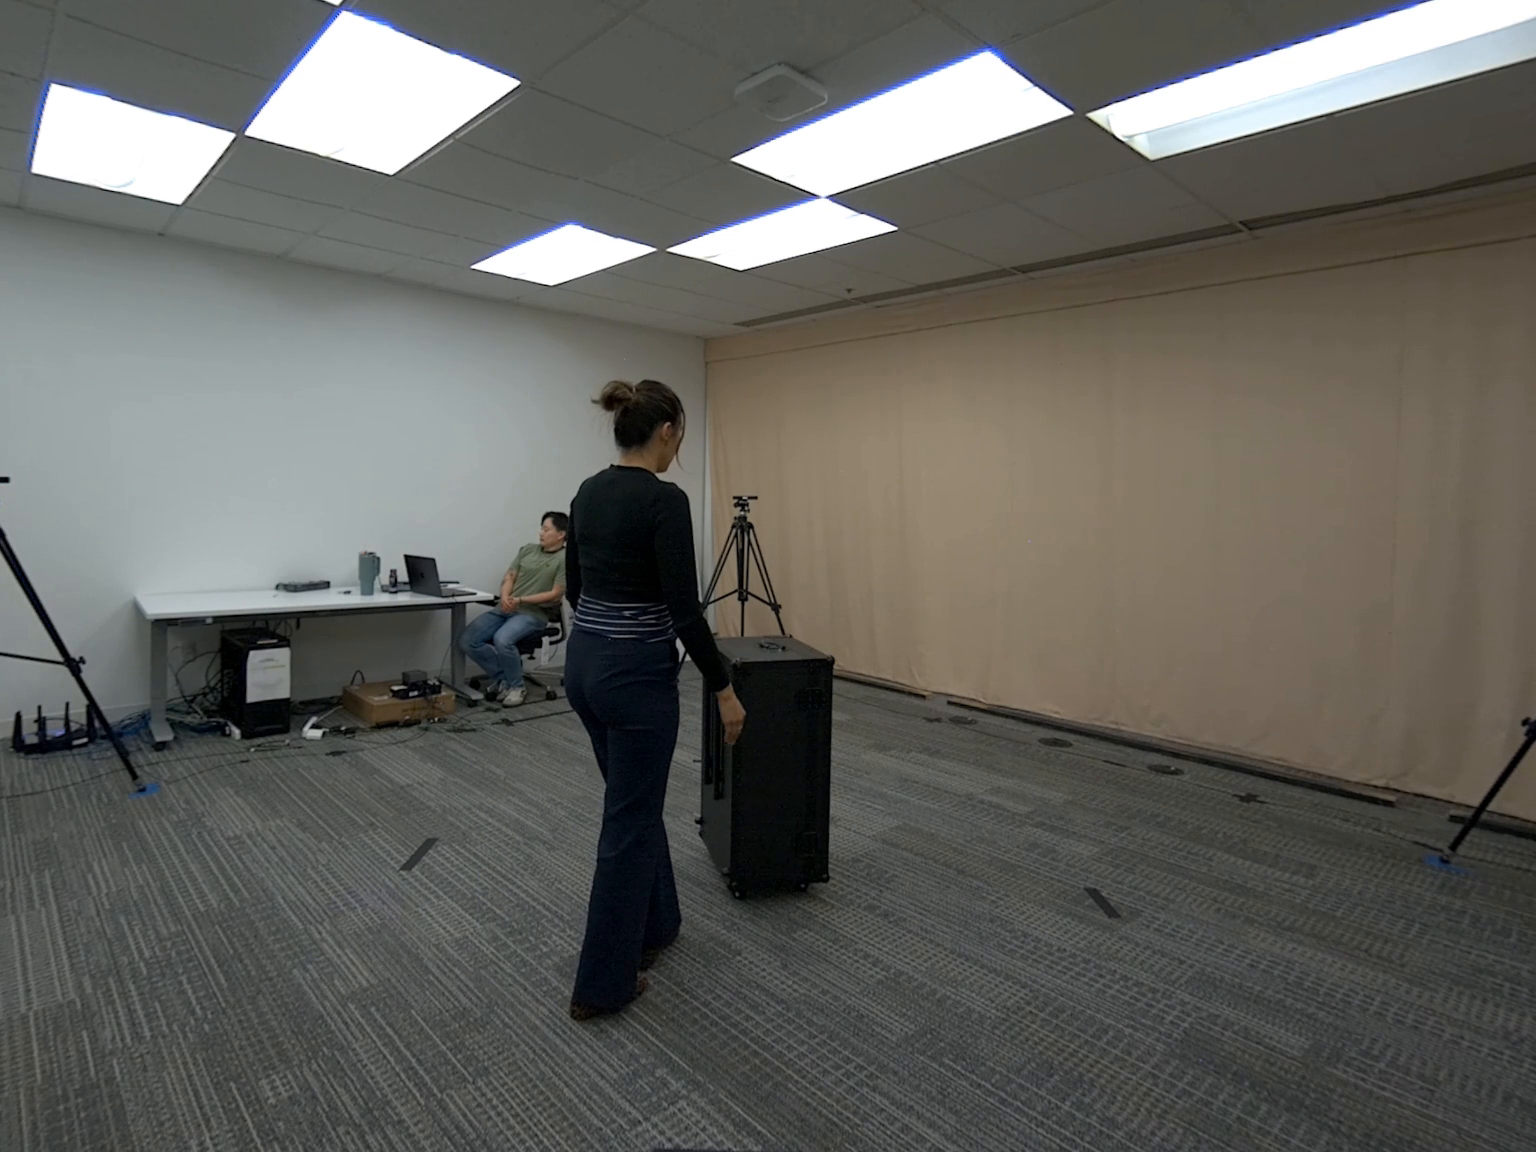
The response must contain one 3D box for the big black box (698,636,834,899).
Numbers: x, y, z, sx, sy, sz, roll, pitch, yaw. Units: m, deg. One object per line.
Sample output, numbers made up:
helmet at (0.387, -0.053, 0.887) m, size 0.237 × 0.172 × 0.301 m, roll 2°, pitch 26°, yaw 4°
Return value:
big black box at (-0.033, 0.623, 3.069) m, size 0.391 × 0.859 × 0.529 m, roll 0°, pitch 4°, yaw -17°
